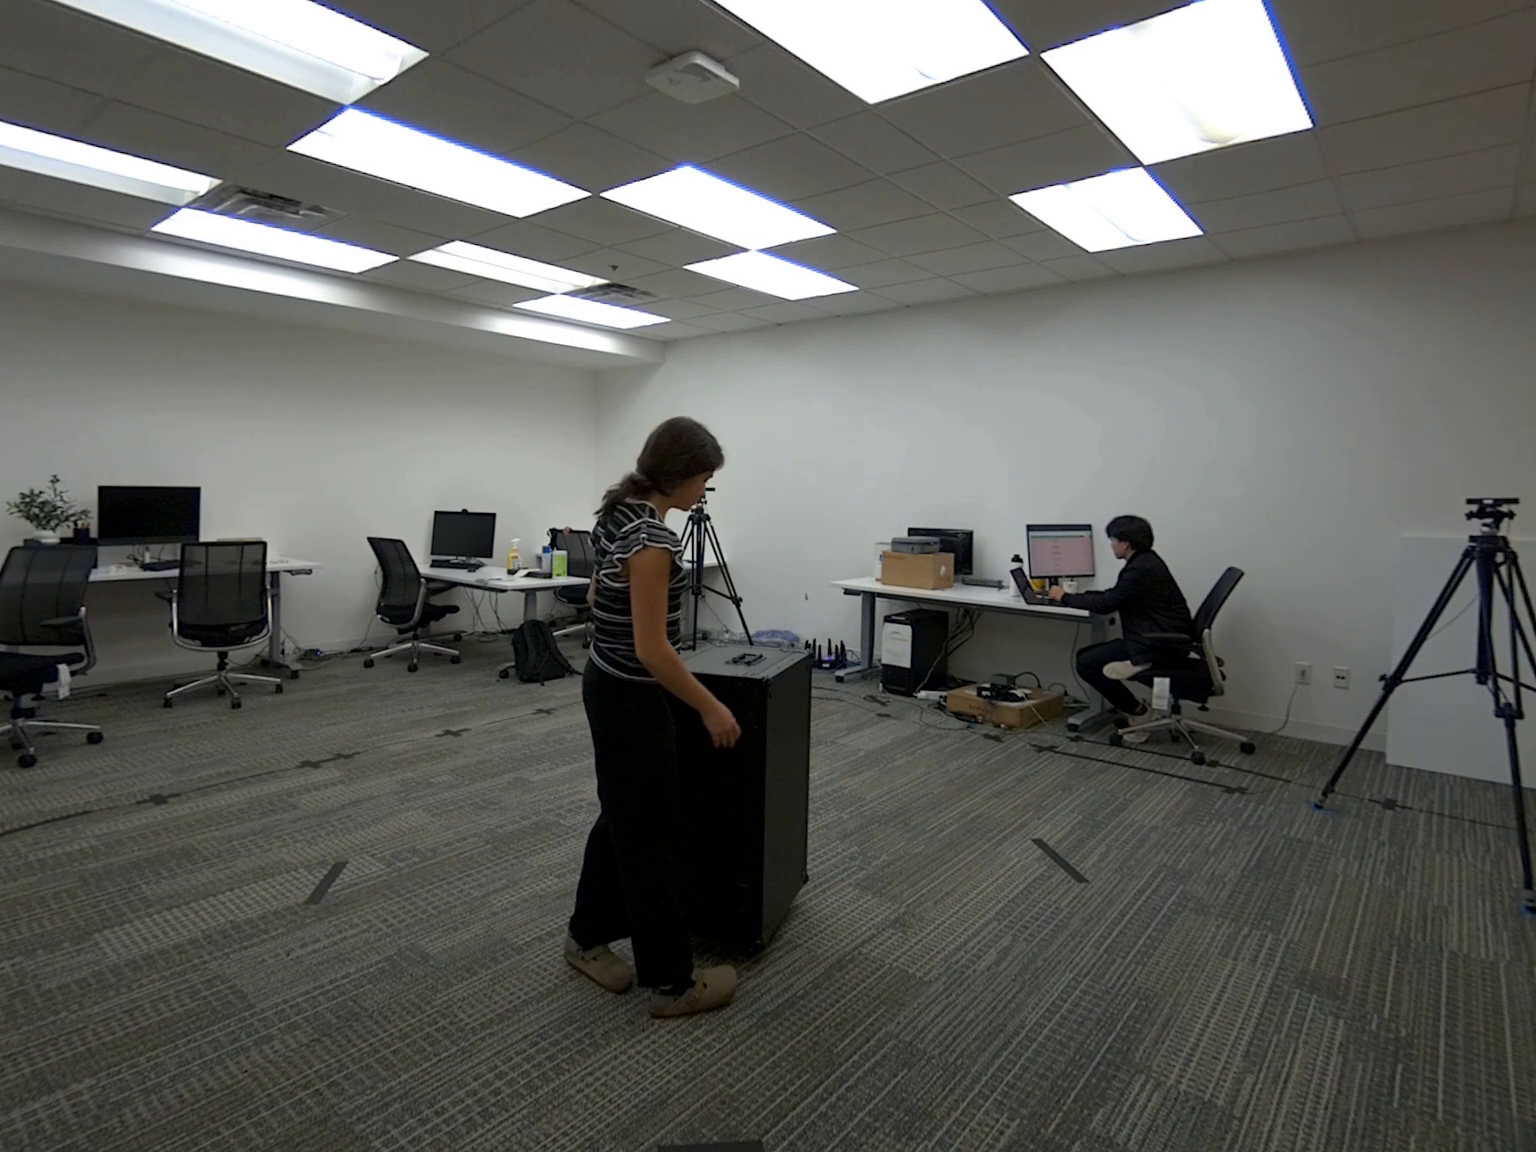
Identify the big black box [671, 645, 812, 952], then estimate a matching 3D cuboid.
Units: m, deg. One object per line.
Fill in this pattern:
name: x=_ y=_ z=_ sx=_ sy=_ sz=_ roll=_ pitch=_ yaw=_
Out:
big black box: x=-0.113 y=0.684 z=2.697 sx=0.405 sy=0.858 sz=0.512 roll=2 pitch=5 yaw=19
